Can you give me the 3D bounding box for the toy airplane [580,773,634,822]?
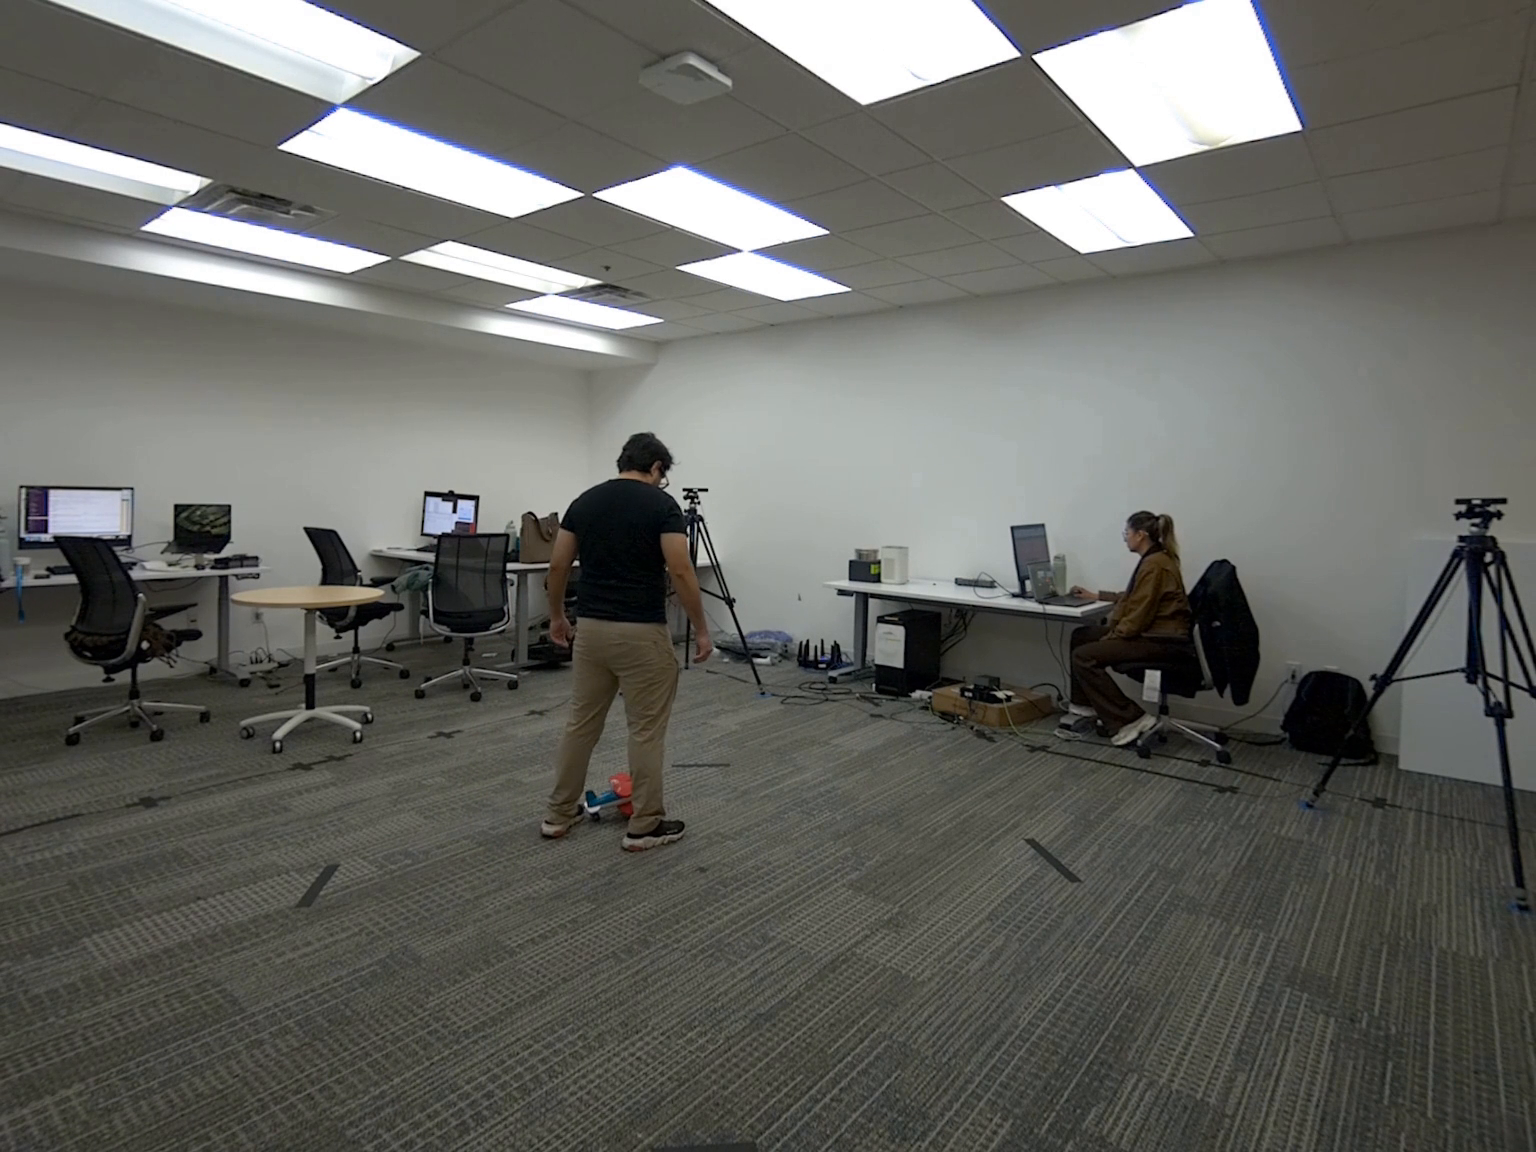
[{"bbox_3d":[-0.644,0.948,3.581,0.259,0.156,0.251,4,4,39],"label":"toy airplane"}]
